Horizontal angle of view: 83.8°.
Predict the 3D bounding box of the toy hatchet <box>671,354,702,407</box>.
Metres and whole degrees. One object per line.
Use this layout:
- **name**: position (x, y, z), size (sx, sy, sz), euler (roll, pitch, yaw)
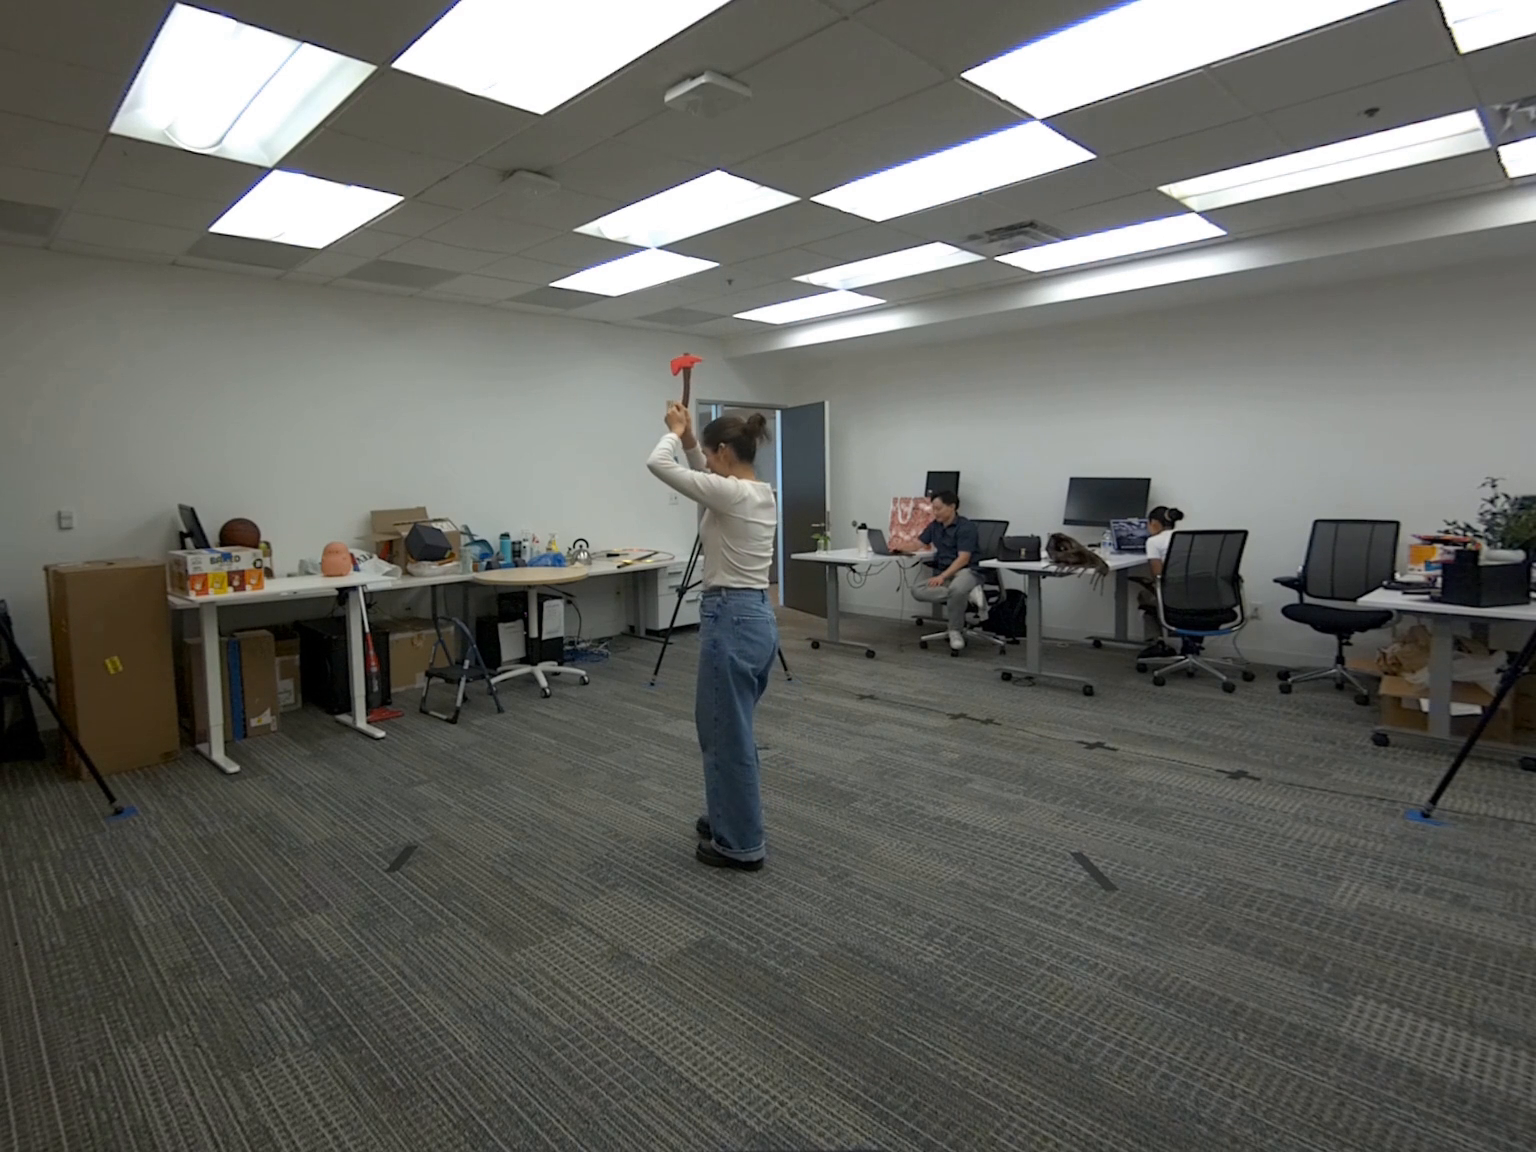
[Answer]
- **toy hatchet**: position (-0.328, -0.685, 3.132), size (0.134, 0.269, 0.029), euler (19, 8, 20)
